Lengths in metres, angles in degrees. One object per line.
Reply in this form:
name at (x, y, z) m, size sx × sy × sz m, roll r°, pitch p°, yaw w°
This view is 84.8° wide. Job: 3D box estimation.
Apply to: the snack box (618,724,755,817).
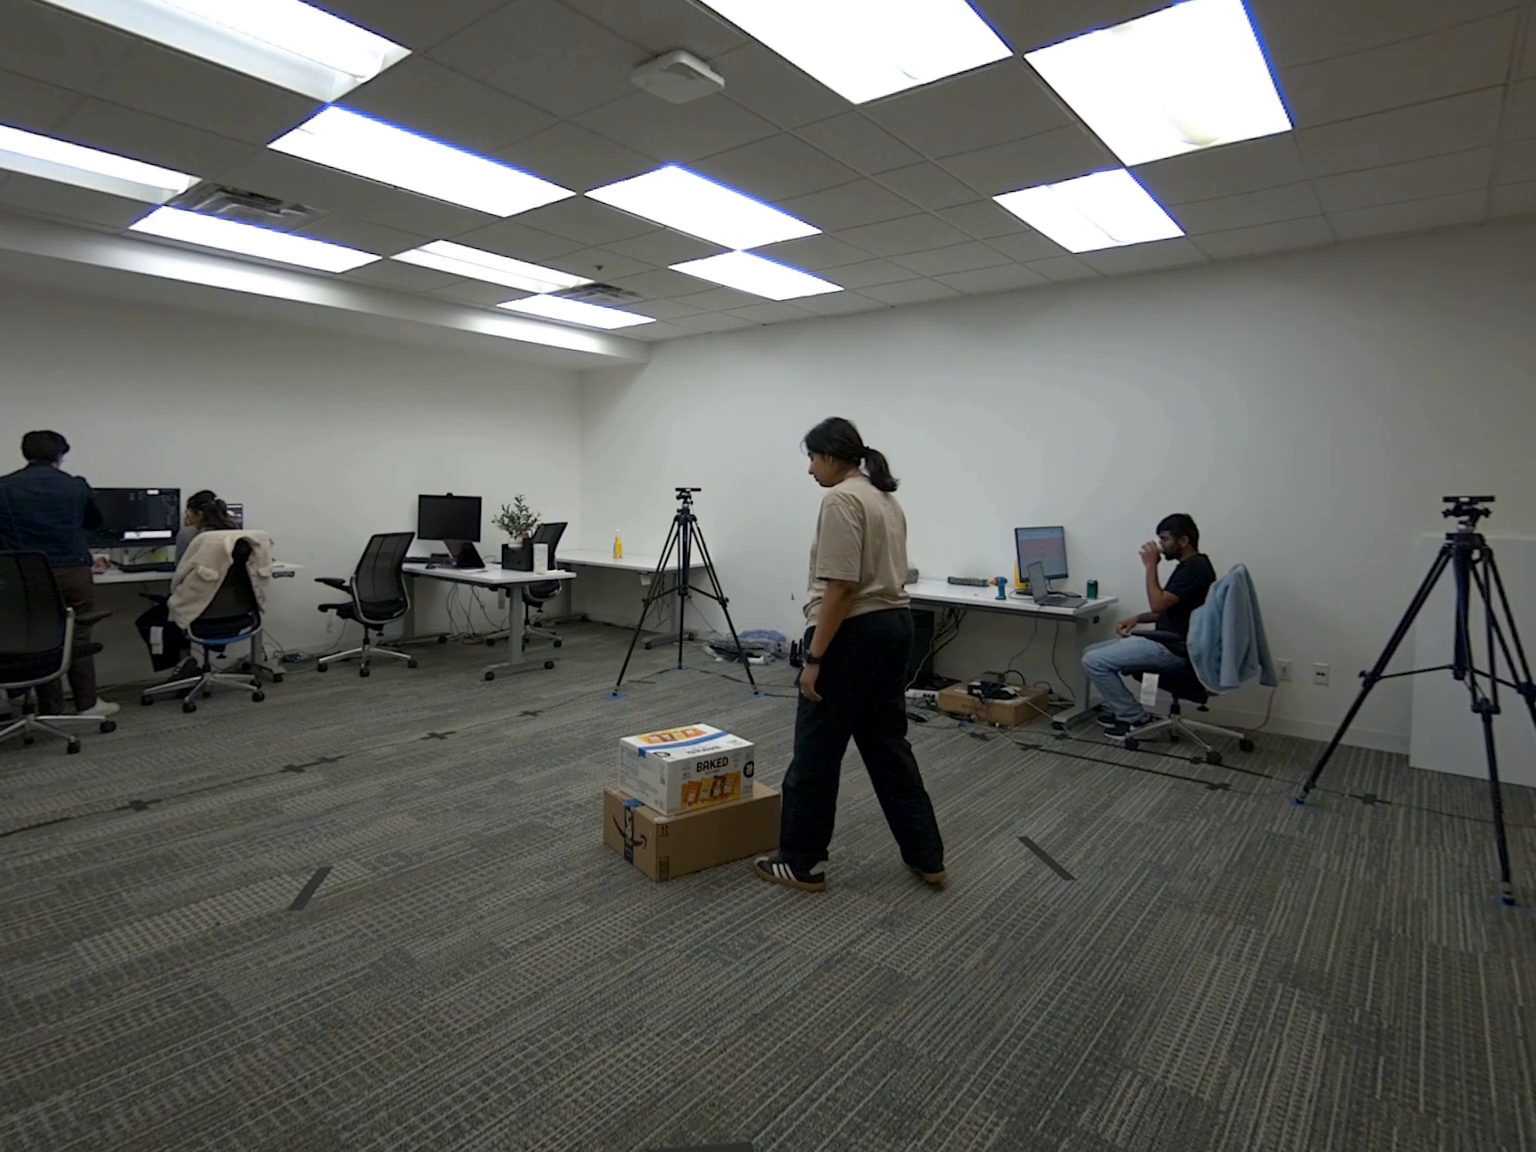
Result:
snack box at (-0.324, 0.738, 3.278) m, size 0.393 × 0.205 × 0.352 m, roll -3°, pitch 6°, yaw -39°
